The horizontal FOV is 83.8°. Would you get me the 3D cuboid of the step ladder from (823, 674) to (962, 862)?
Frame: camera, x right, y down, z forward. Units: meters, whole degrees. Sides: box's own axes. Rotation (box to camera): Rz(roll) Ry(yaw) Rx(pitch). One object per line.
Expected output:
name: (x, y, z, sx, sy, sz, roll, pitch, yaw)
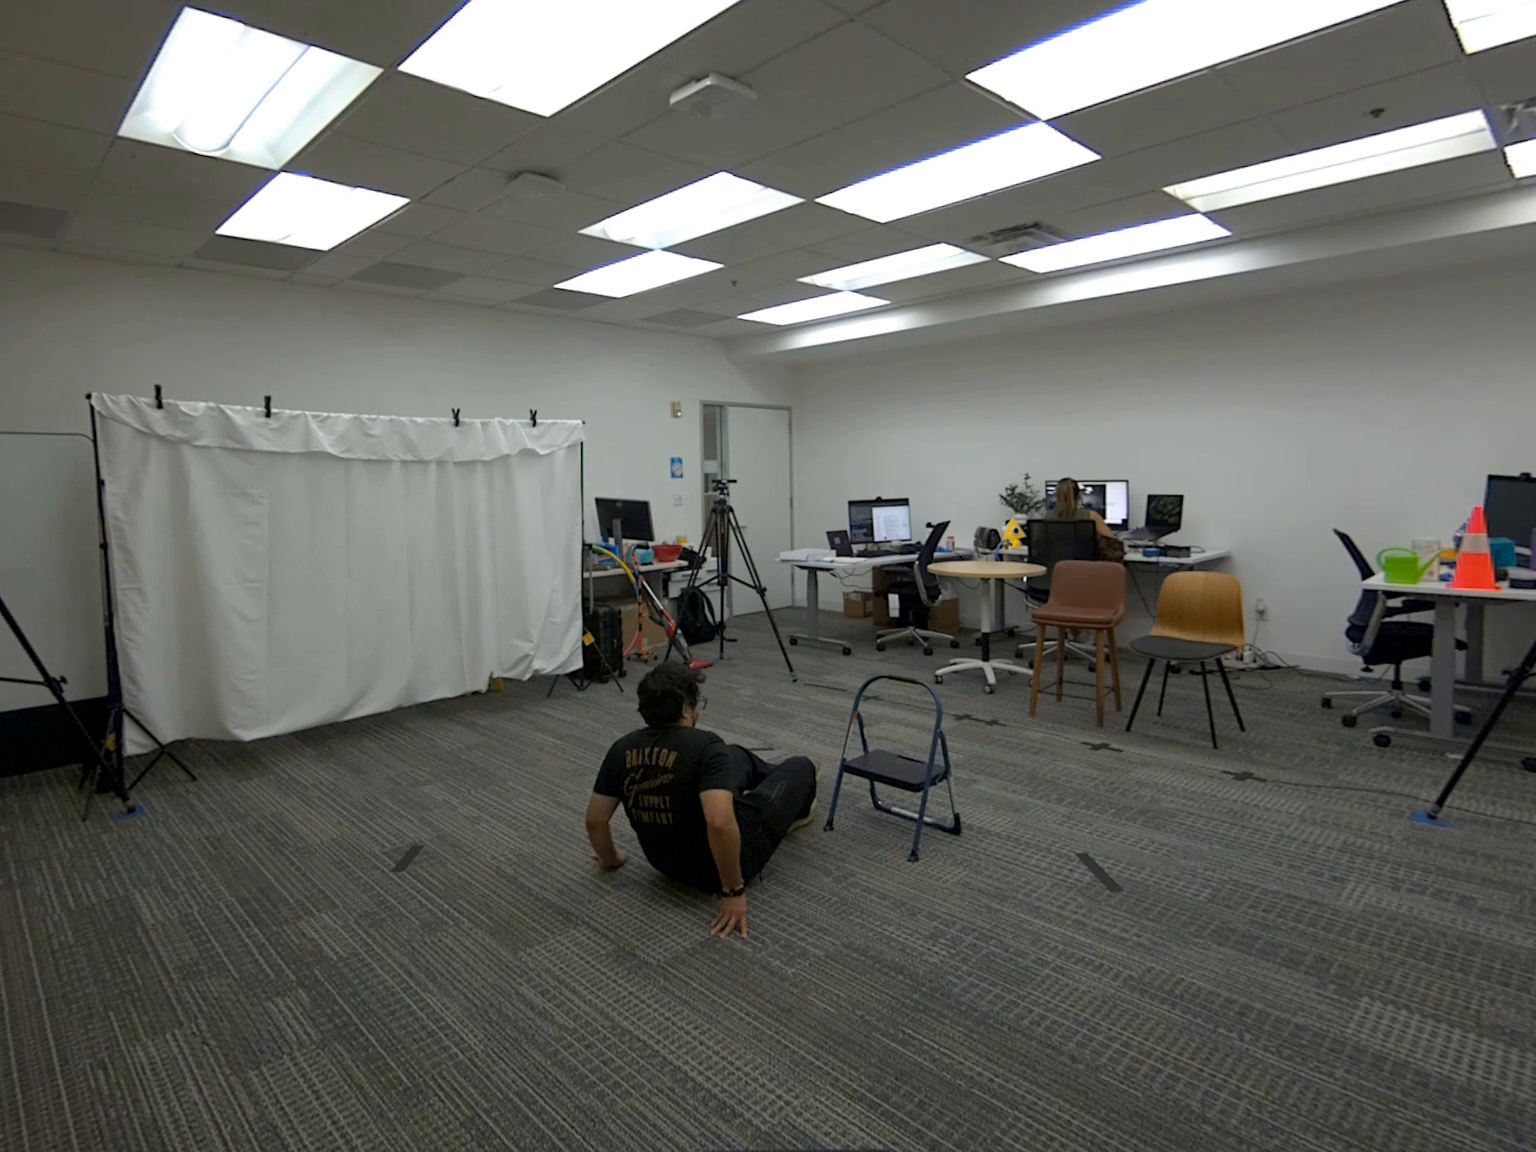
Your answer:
step ladder: (0.491, 0.707, 3.352, 0.444, 0.604, 0.340, 4, 6, 44)
